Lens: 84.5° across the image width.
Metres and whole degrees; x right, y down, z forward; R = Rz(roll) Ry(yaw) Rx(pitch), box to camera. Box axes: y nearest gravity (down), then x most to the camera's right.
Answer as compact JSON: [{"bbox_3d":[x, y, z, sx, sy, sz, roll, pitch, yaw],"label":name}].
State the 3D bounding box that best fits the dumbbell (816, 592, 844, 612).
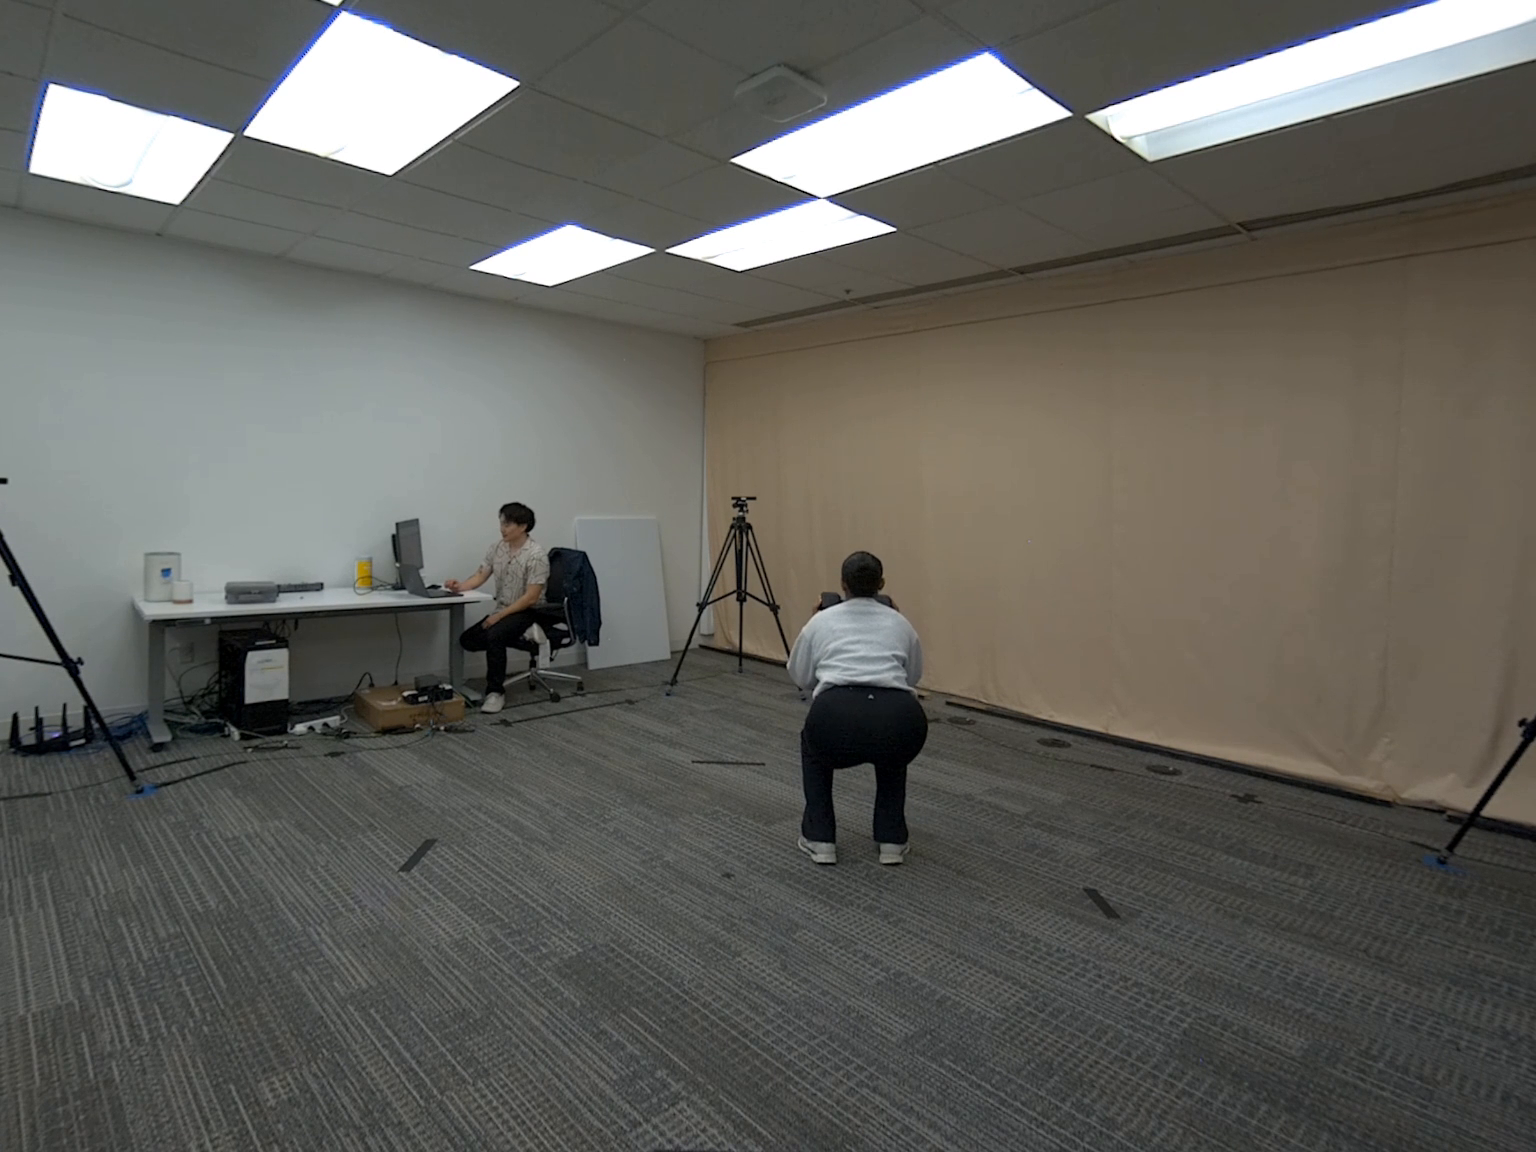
[{"bbox_3d":[0.371,0.115,3.535,0.294,0.120,0.111,5,37,0],"label":"dumbbell"}]
